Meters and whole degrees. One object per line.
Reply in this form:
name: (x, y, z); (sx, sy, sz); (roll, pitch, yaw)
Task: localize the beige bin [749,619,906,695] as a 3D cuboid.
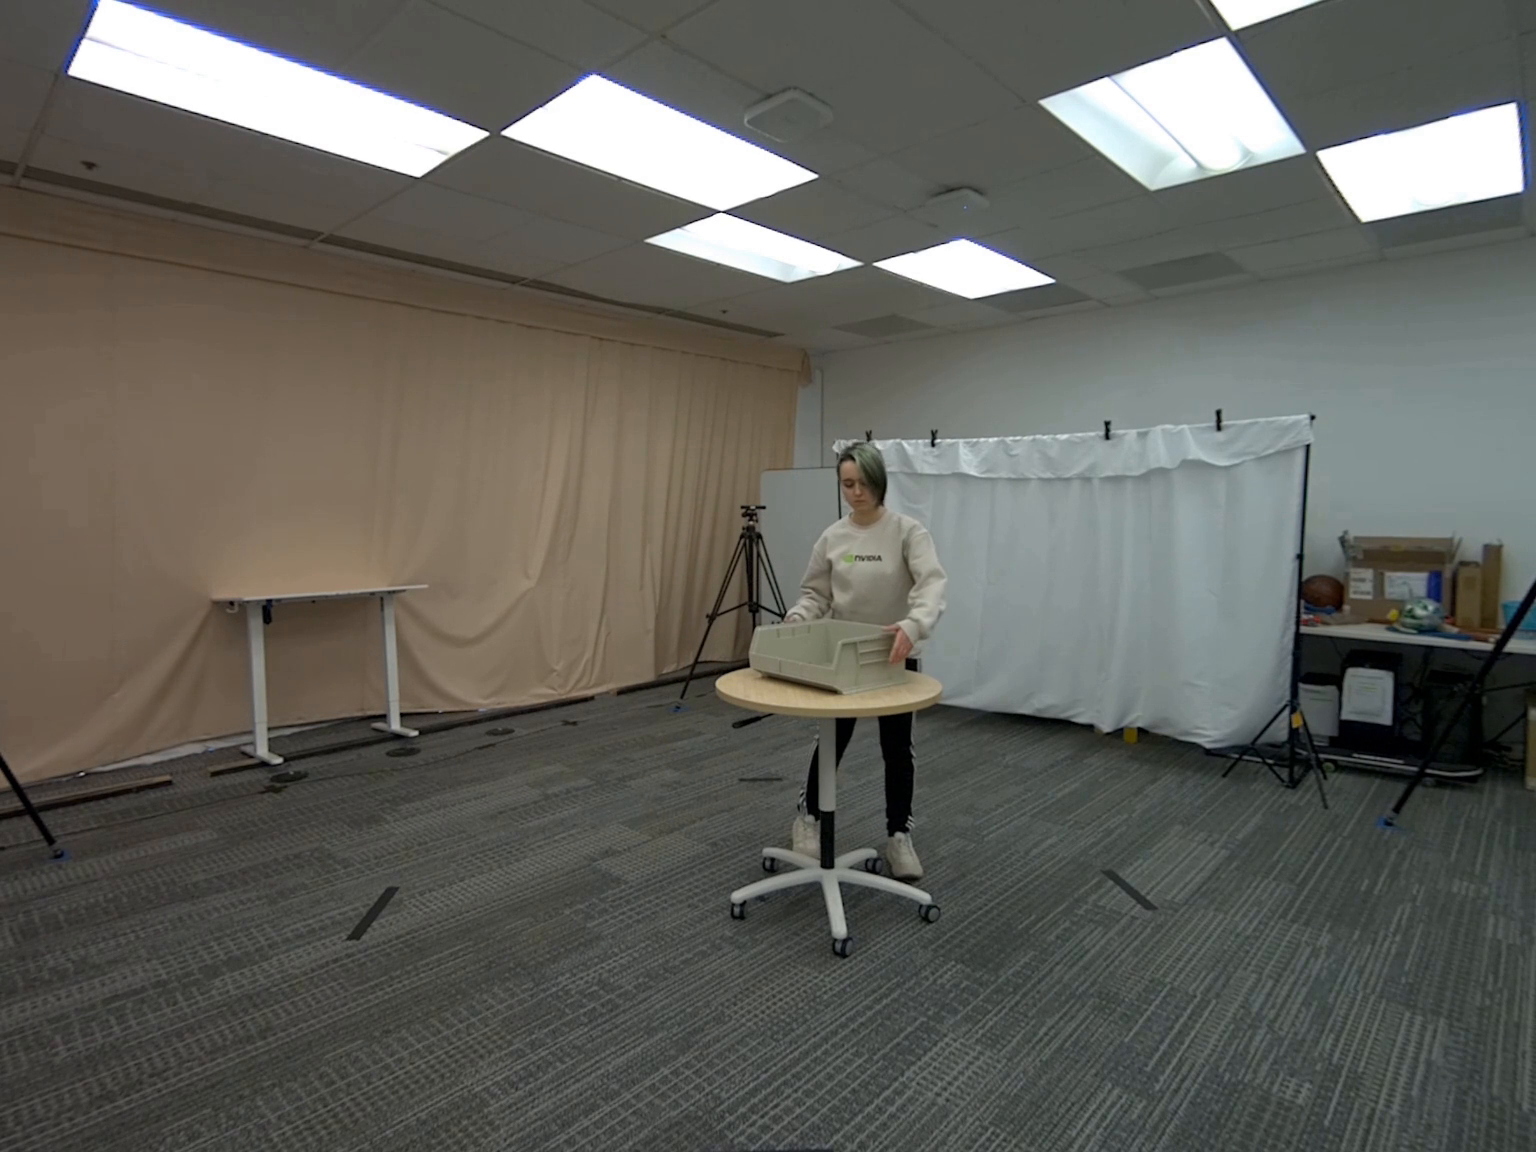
beige bin: (0.215, 0.272, 2.932); (0.366, 0.189, 0.436); (-2, 4, -37)
